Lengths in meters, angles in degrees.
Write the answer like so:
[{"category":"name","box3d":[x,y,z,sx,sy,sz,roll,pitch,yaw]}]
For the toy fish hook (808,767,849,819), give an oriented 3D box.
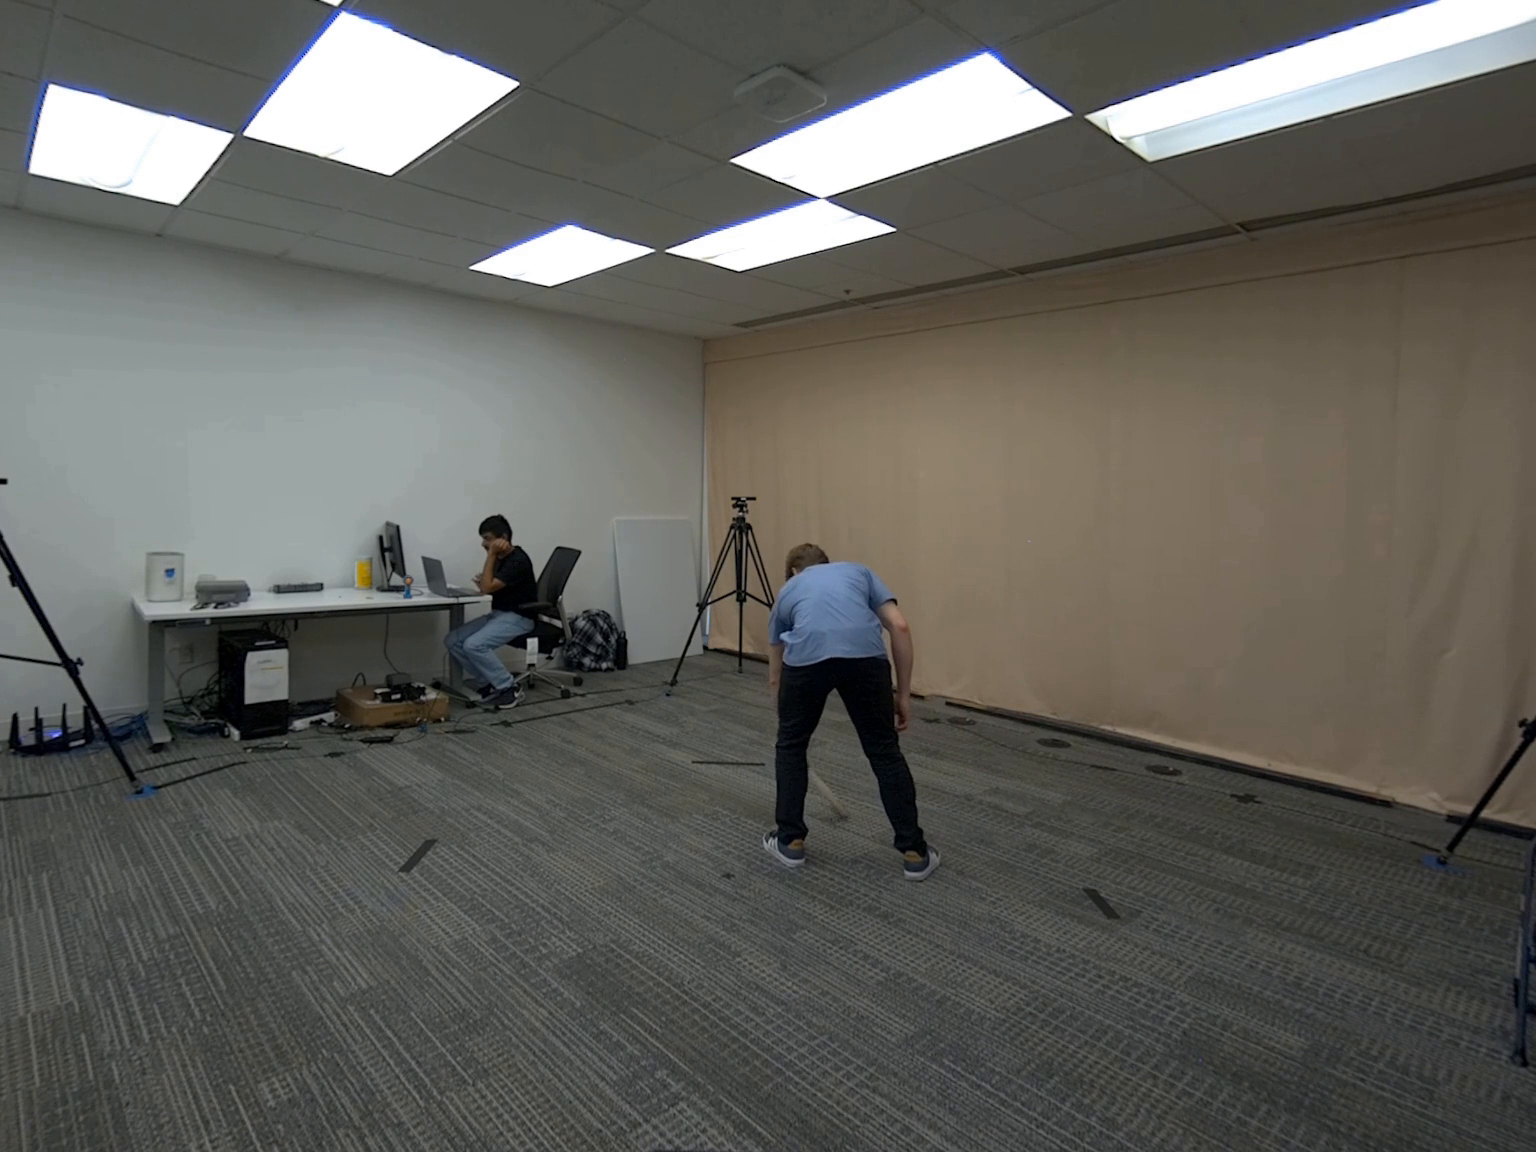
[{"category":"toy fish hook","box3d":[0.178,0.877,3.722,0.048,0.500,0.228,-41,13,-7]}]
